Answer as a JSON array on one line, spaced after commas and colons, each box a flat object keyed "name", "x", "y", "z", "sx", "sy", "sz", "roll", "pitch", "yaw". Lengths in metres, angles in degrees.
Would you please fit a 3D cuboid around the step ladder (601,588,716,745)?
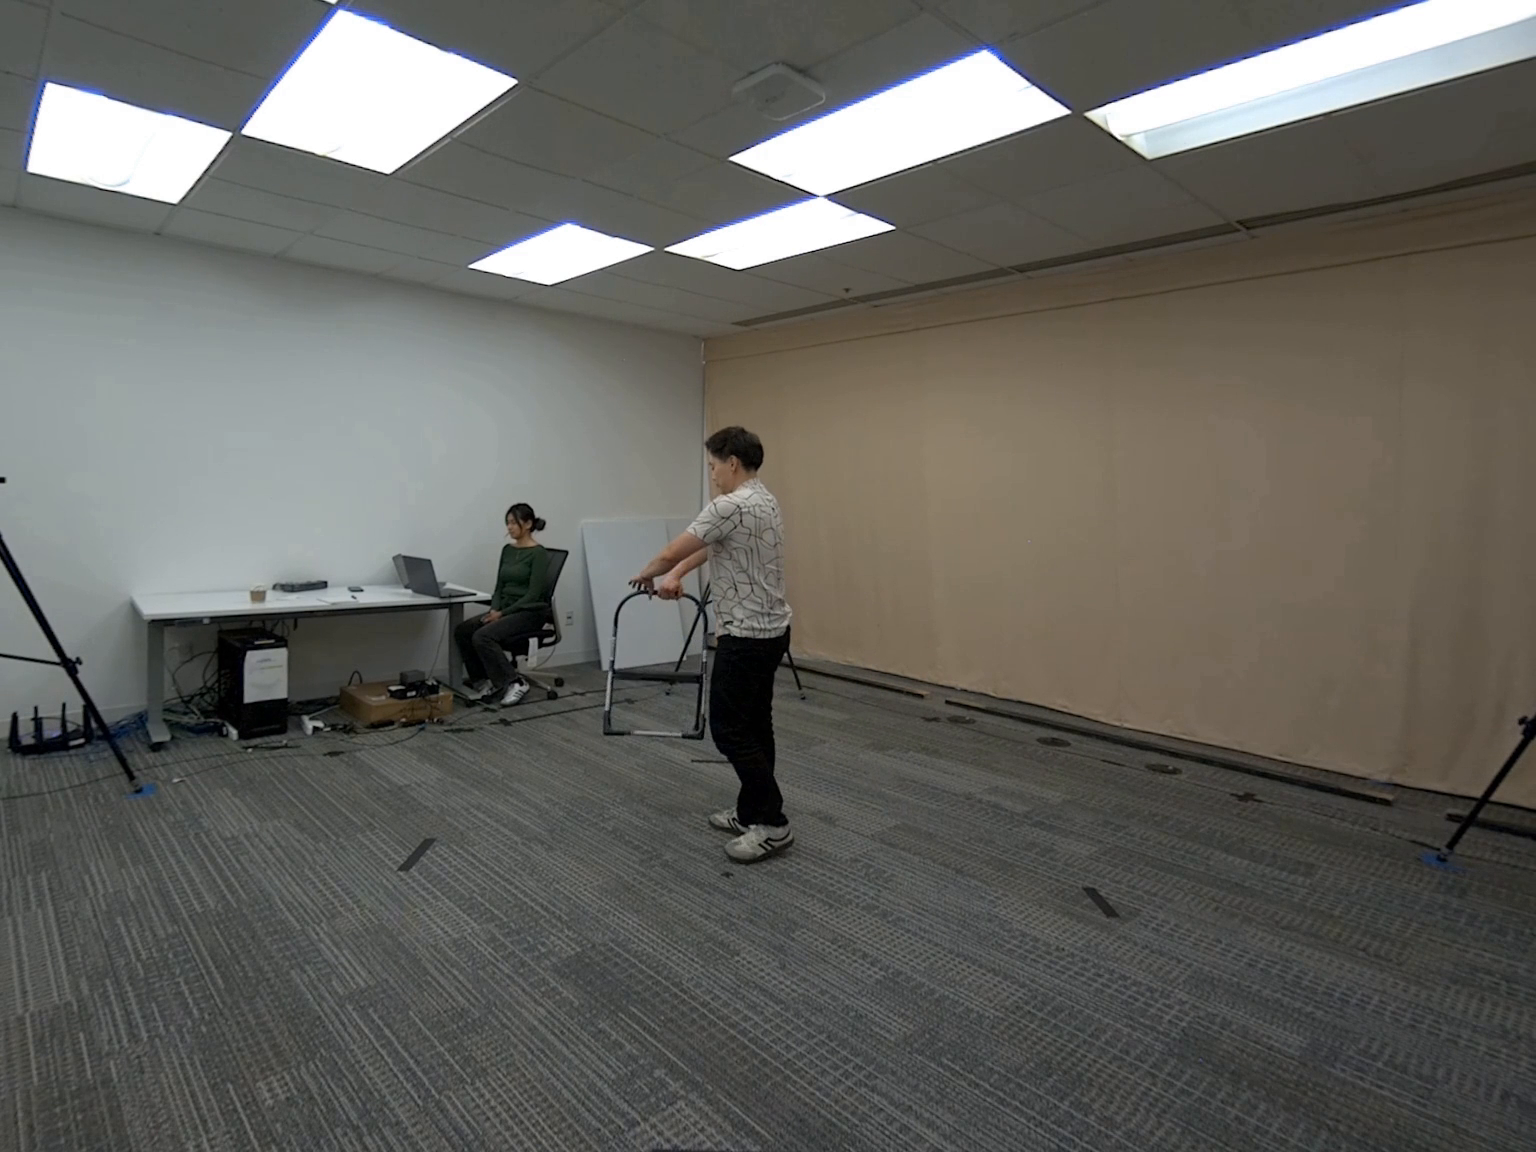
[{"name": "step ladder", "x": -0.468, "y": 0.376, "z": 3.626, "sx": 0.428, "sy": 0.608, "sz": 0.350, "roll": 4, "pitch": -6, "yaw": -8}]
